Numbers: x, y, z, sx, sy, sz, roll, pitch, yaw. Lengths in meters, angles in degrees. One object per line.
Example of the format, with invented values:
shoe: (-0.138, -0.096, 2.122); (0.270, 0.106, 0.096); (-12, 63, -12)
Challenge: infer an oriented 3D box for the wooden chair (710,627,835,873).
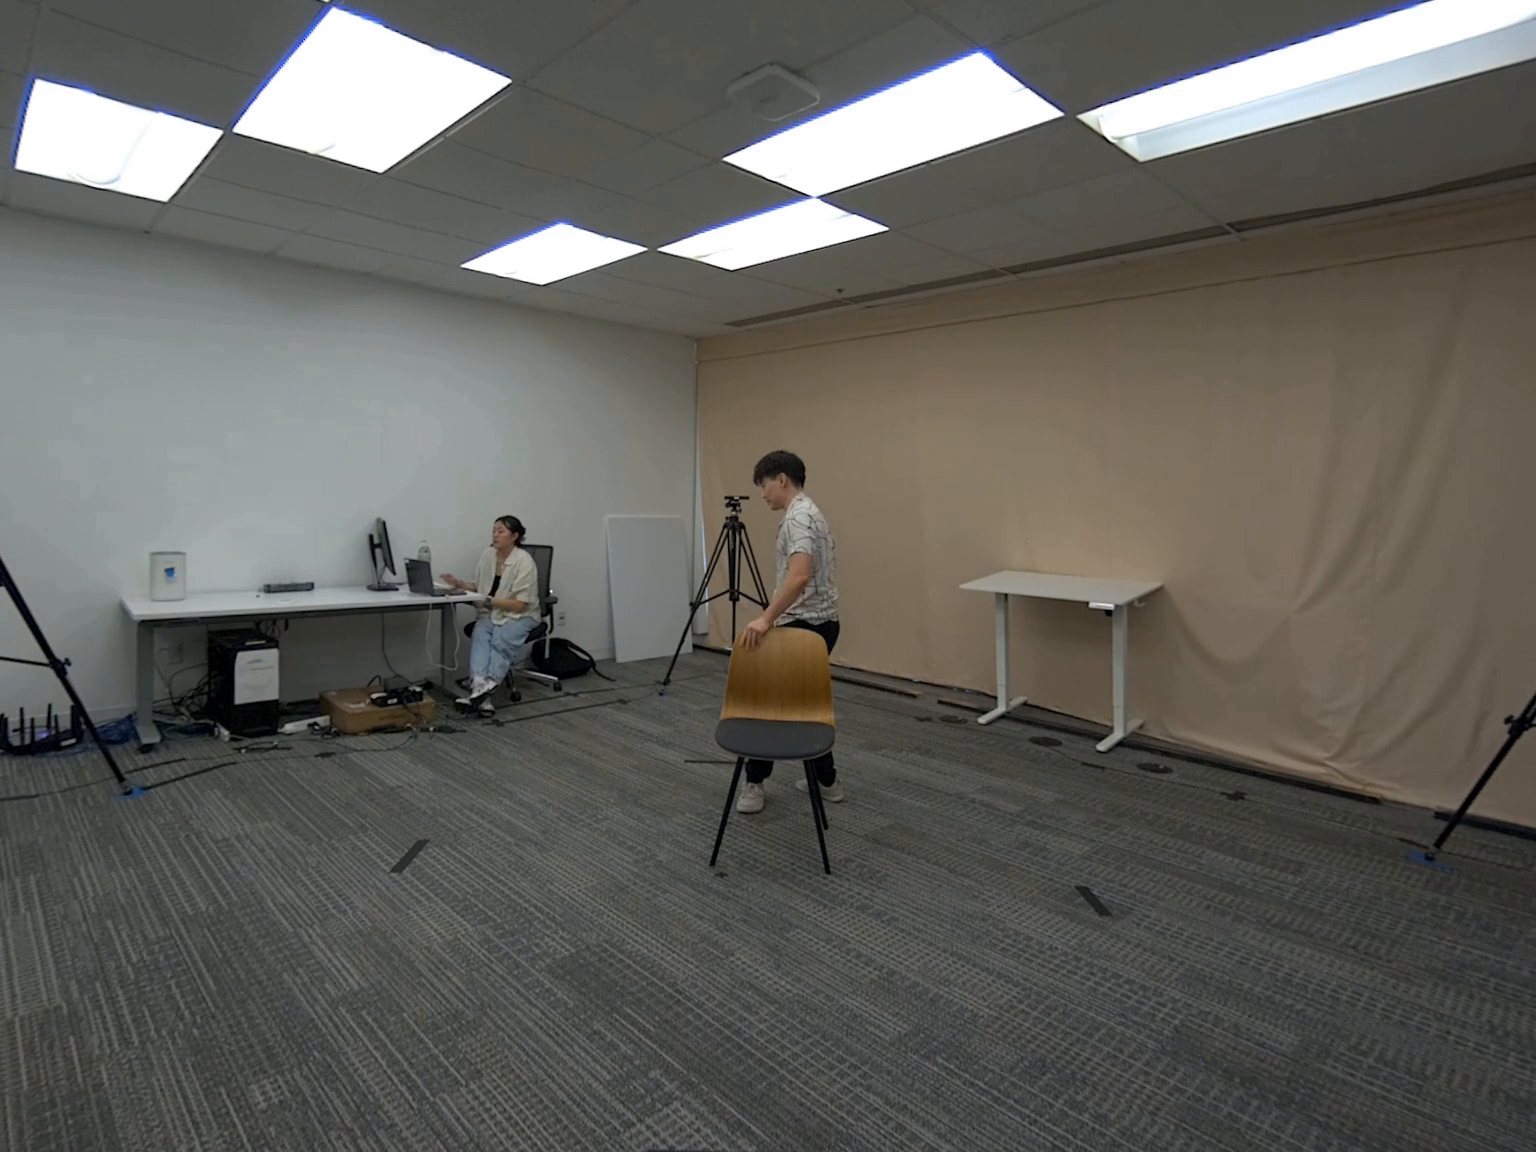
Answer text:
wooden chair: (0.025, 0.660, 3.337); (0.480, 0.878, 0.520); (2, -1, 4)
